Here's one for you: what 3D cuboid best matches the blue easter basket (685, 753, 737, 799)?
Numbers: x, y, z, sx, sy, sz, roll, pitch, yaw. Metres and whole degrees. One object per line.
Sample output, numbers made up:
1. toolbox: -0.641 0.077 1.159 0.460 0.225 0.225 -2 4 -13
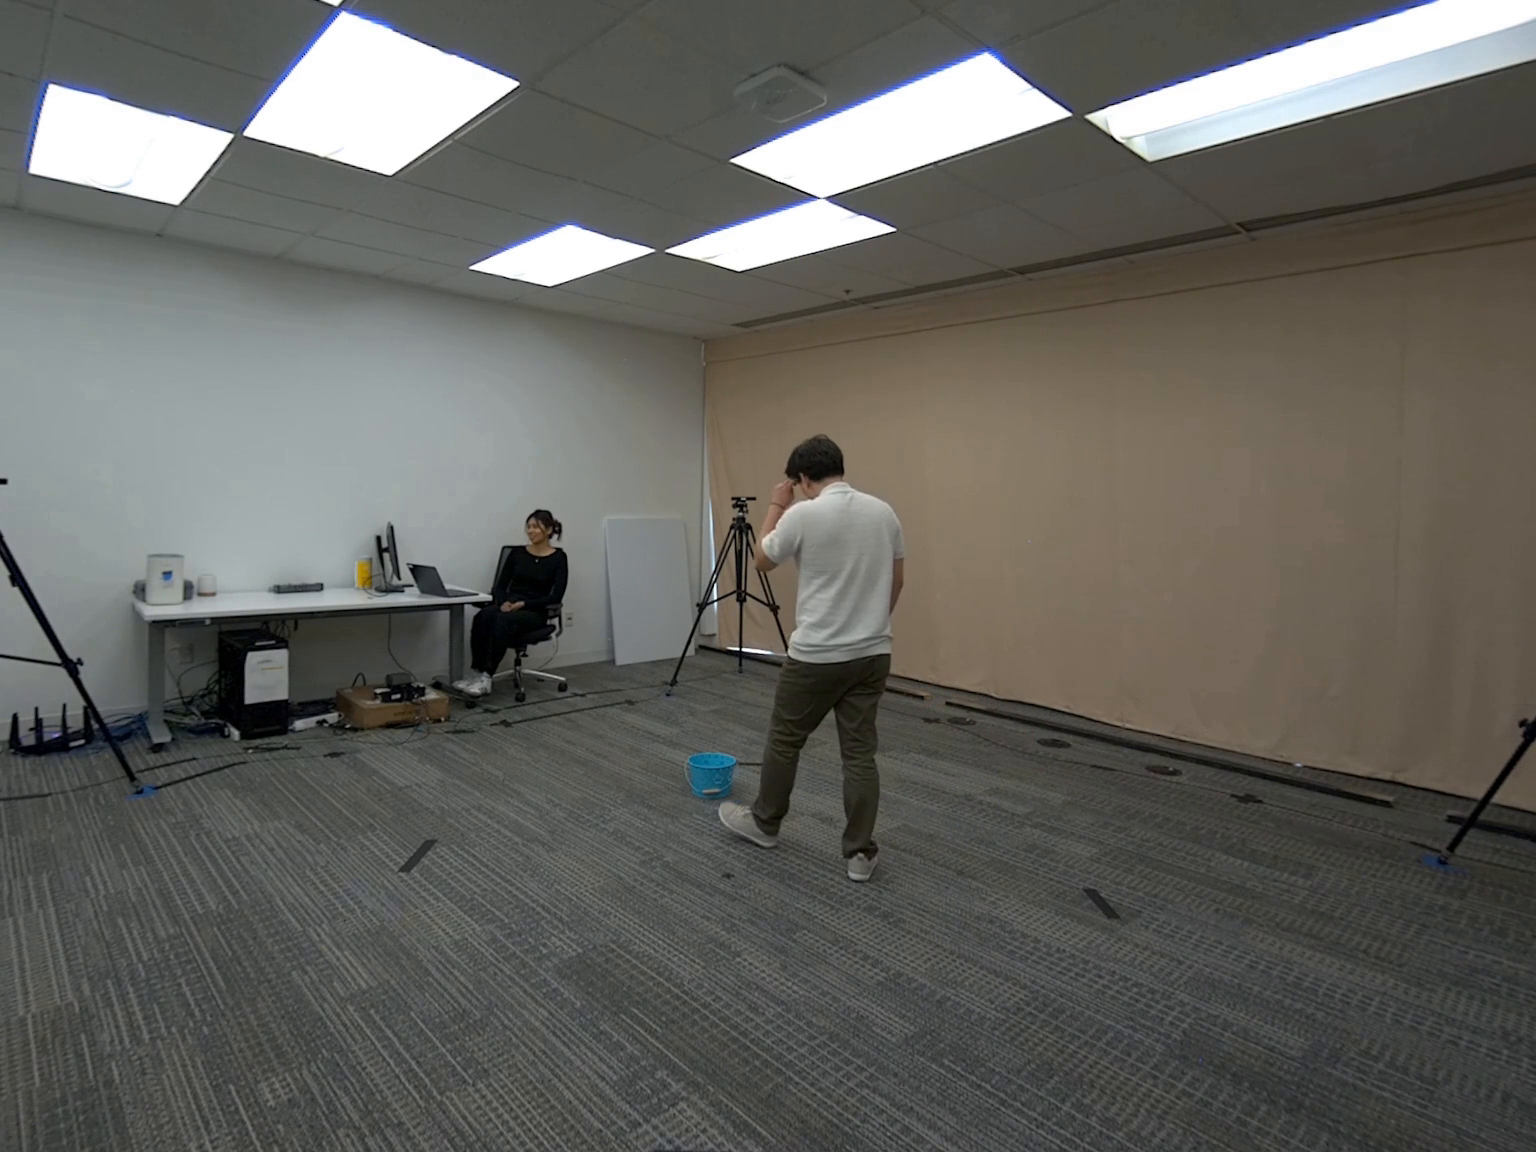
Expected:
1. blue easter basket: -0.289 0.951 4.001 0.243 0.155 0.244 2 5 -2
